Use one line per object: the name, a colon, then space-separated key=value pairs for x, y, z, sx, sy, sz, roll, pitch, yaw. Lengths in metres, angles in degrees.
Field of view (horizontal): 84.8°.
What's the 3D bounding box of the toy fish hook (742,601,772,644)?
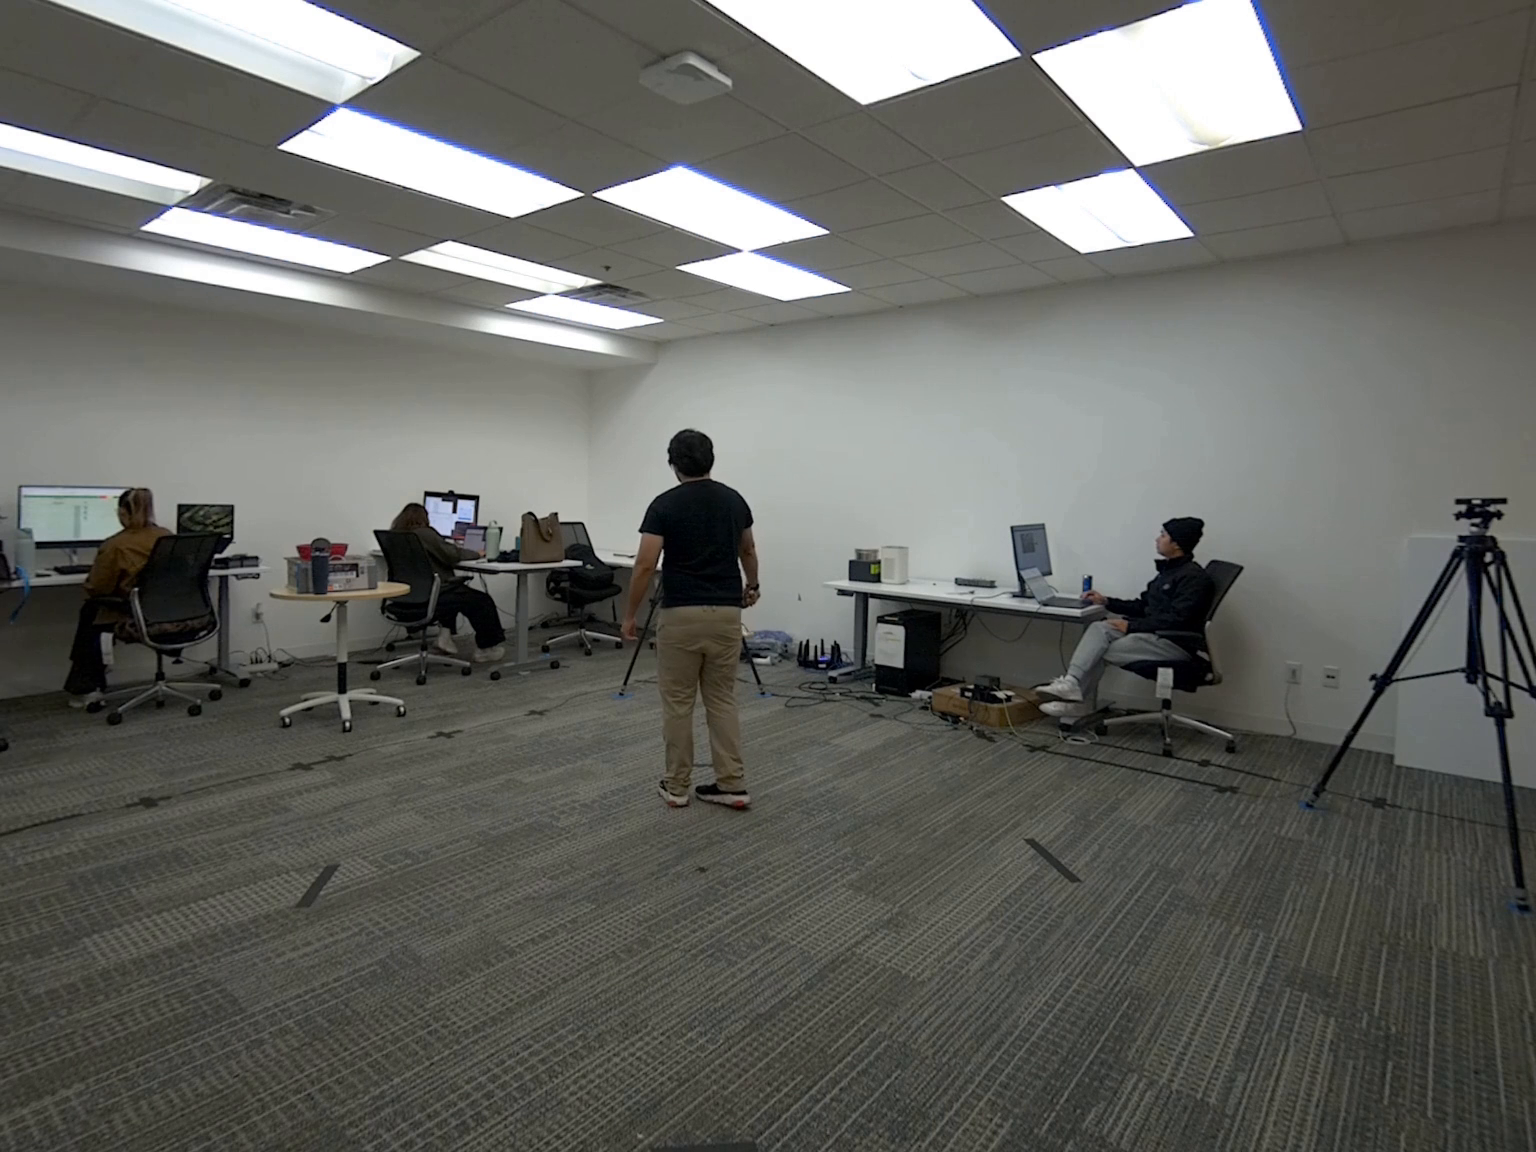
toy fish hook: x=-0.136 y=0.197 z=4.314 sx=0.048 sy=0.227 sz=0.504 roll=-37 pitch=-5 yaw=-20
